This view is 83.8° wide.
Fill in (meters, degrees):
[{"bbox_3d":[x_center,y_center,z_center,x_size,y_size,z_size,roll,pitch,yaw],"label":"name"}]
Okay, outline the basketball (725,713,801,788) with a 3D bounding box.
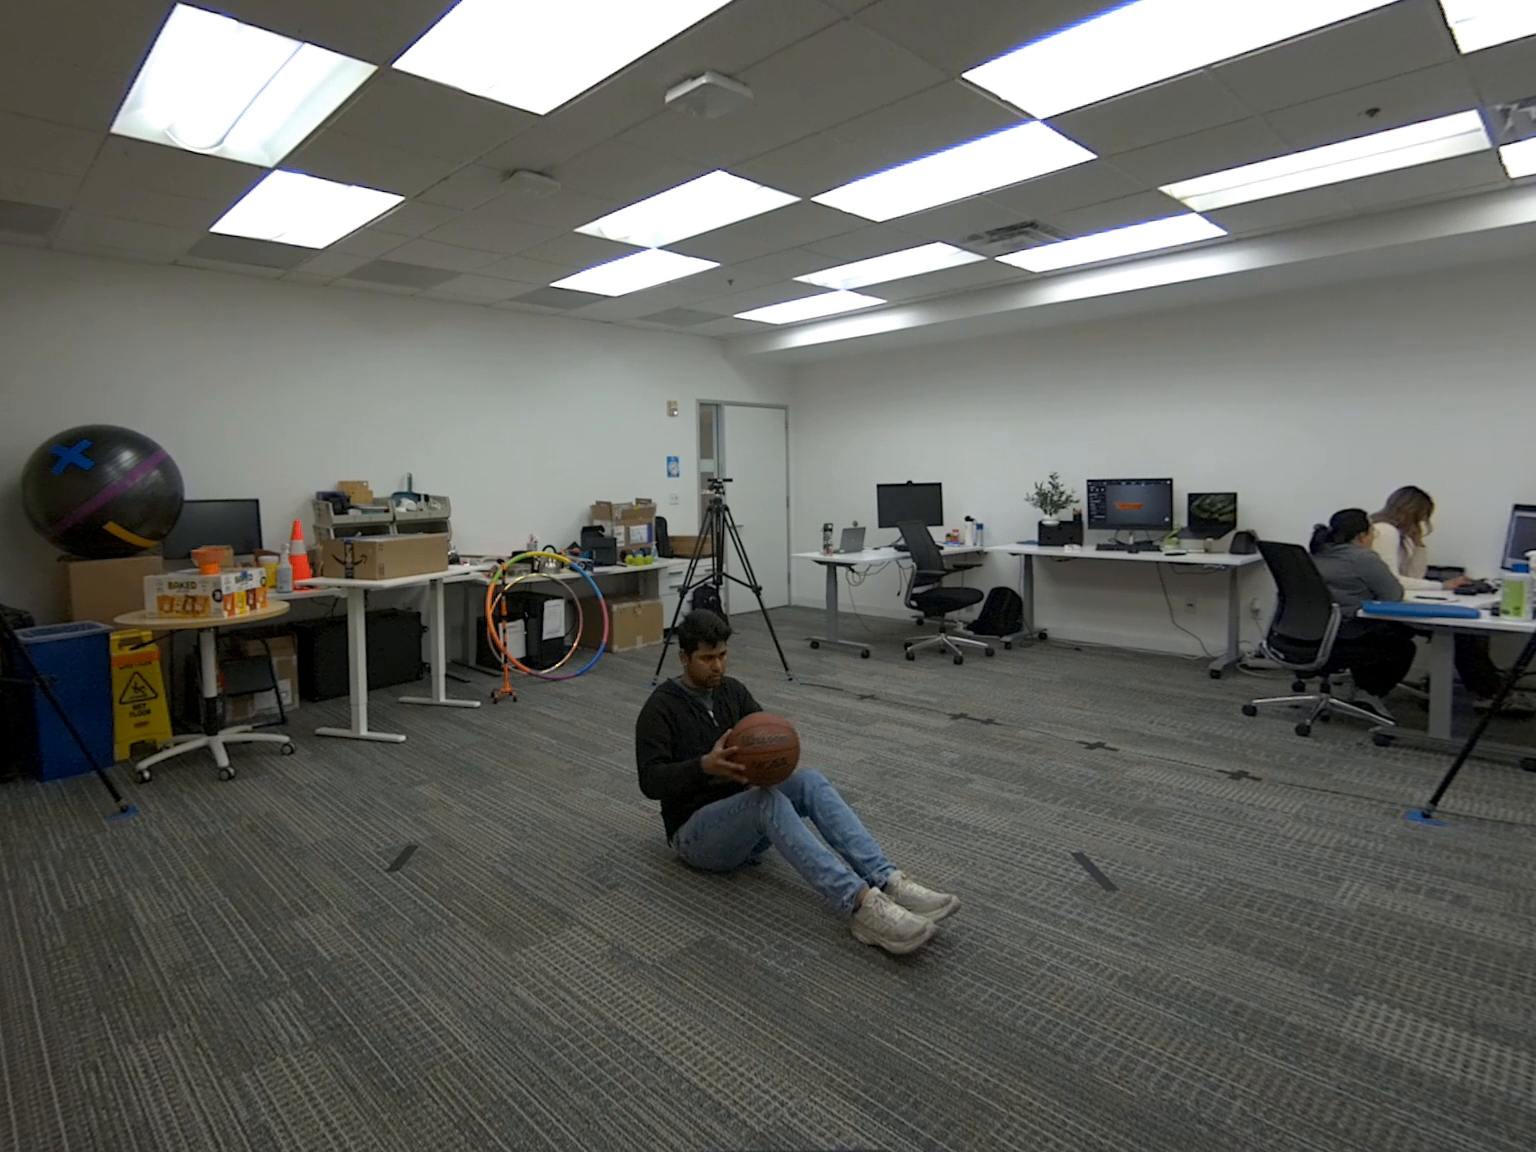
[{"bbox_3d":[-0.023,0.579,2.808,0.236,0.235,0.237,-1,5,-2],"label":"basketball"}]
